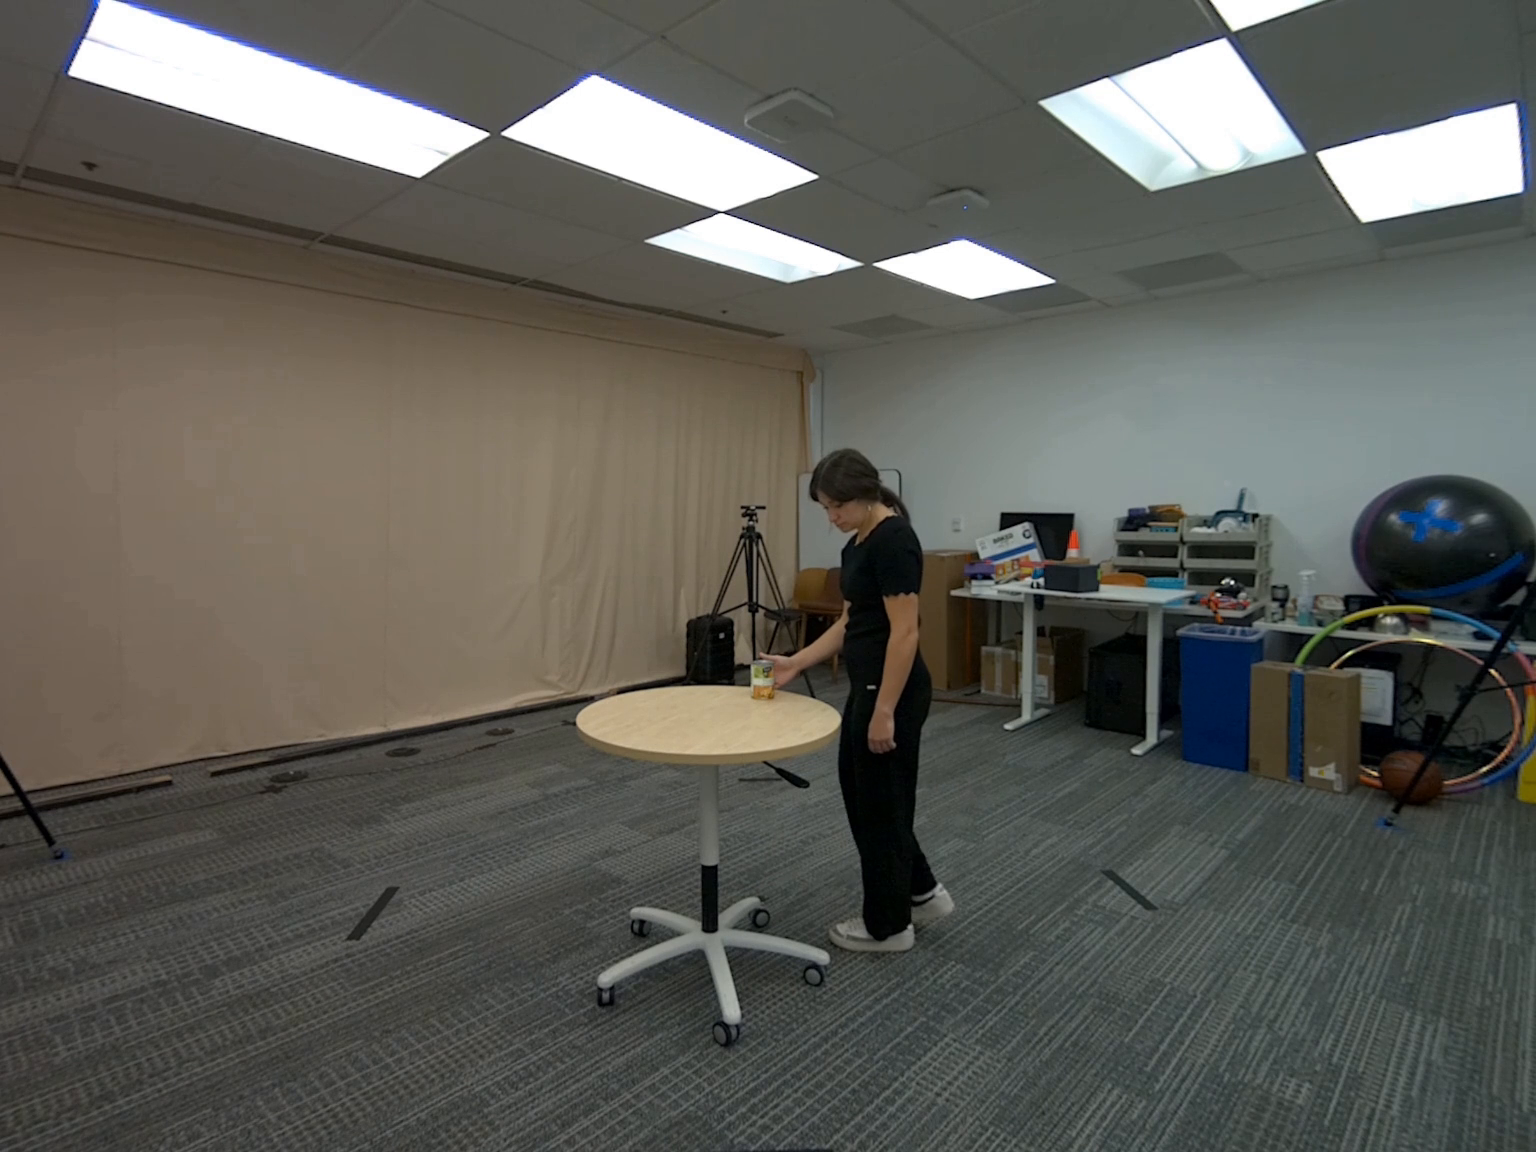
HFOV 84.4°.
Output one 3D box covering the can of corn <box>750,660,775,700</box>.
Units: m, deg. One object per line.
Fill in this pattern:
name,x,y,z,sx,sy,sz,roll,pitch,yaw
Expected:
can of corn,-0.012,0.333,2.669,0.074,0.111,0.074,1,3,-2
